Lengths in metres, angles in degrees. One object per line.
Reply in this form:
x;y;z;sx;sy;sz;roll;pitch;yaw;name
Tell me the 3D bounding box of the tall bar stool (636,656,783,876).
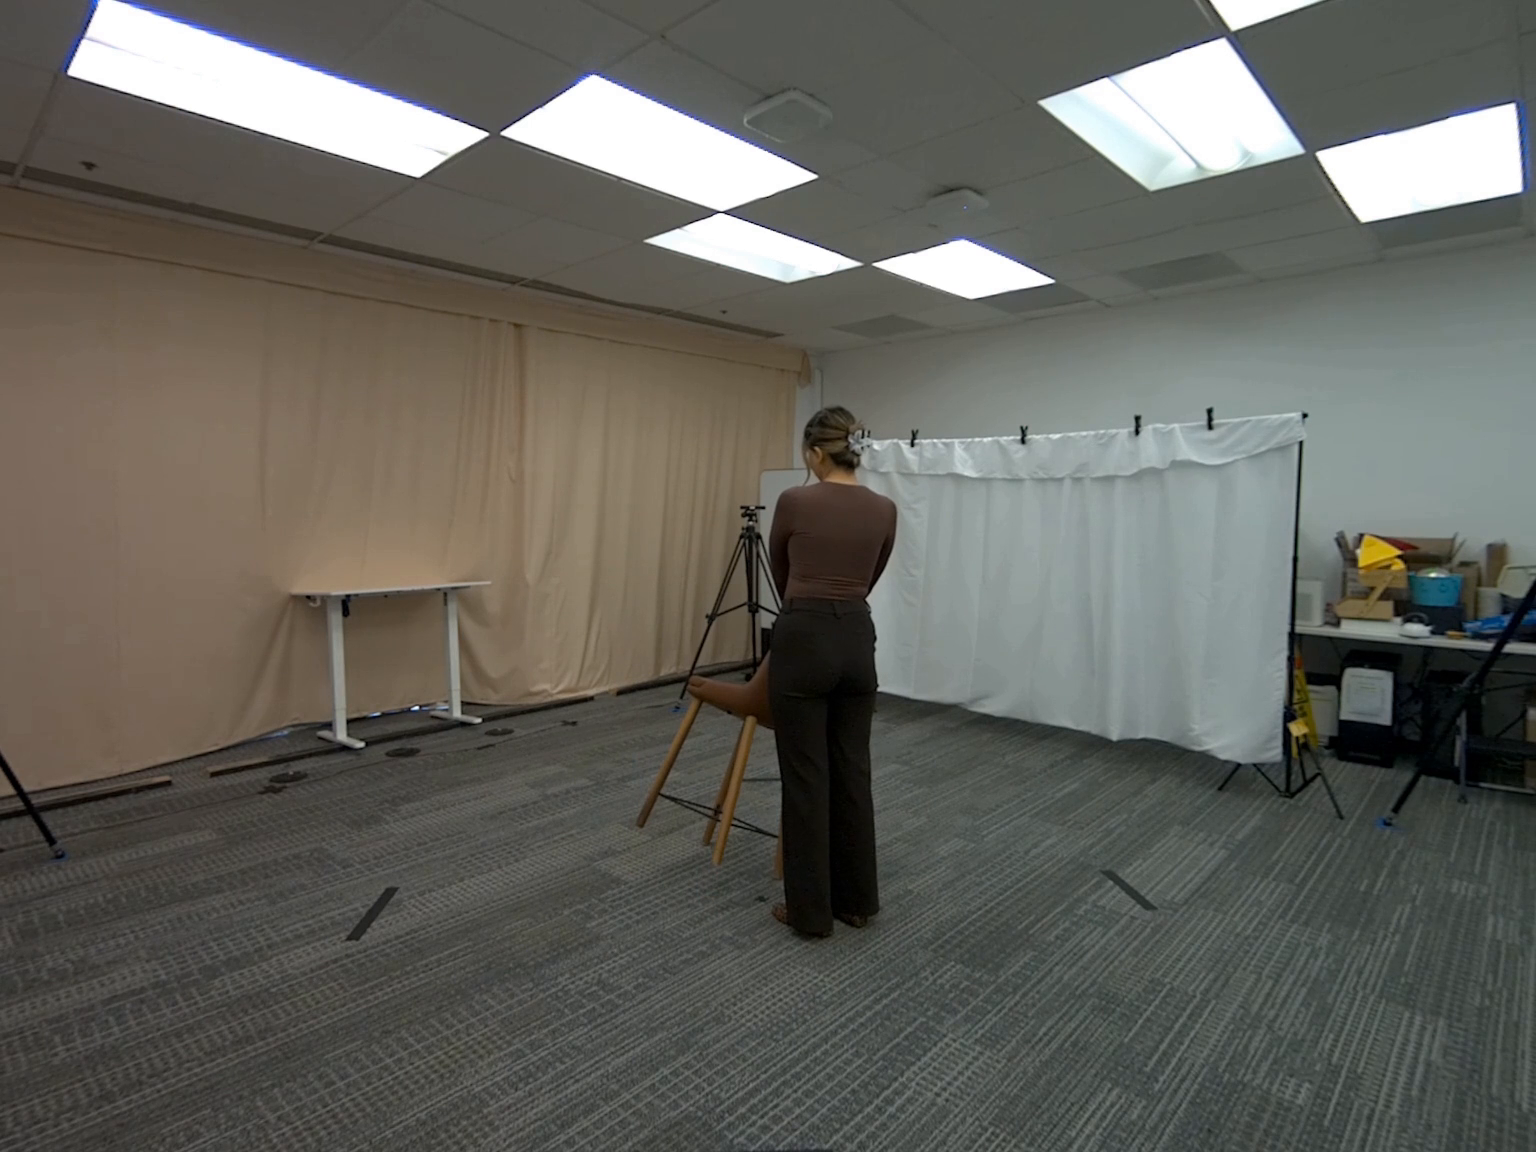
-0.087;0.645;3.282;0.484;0.892;0.440;7;-16;46;tall bar stool
